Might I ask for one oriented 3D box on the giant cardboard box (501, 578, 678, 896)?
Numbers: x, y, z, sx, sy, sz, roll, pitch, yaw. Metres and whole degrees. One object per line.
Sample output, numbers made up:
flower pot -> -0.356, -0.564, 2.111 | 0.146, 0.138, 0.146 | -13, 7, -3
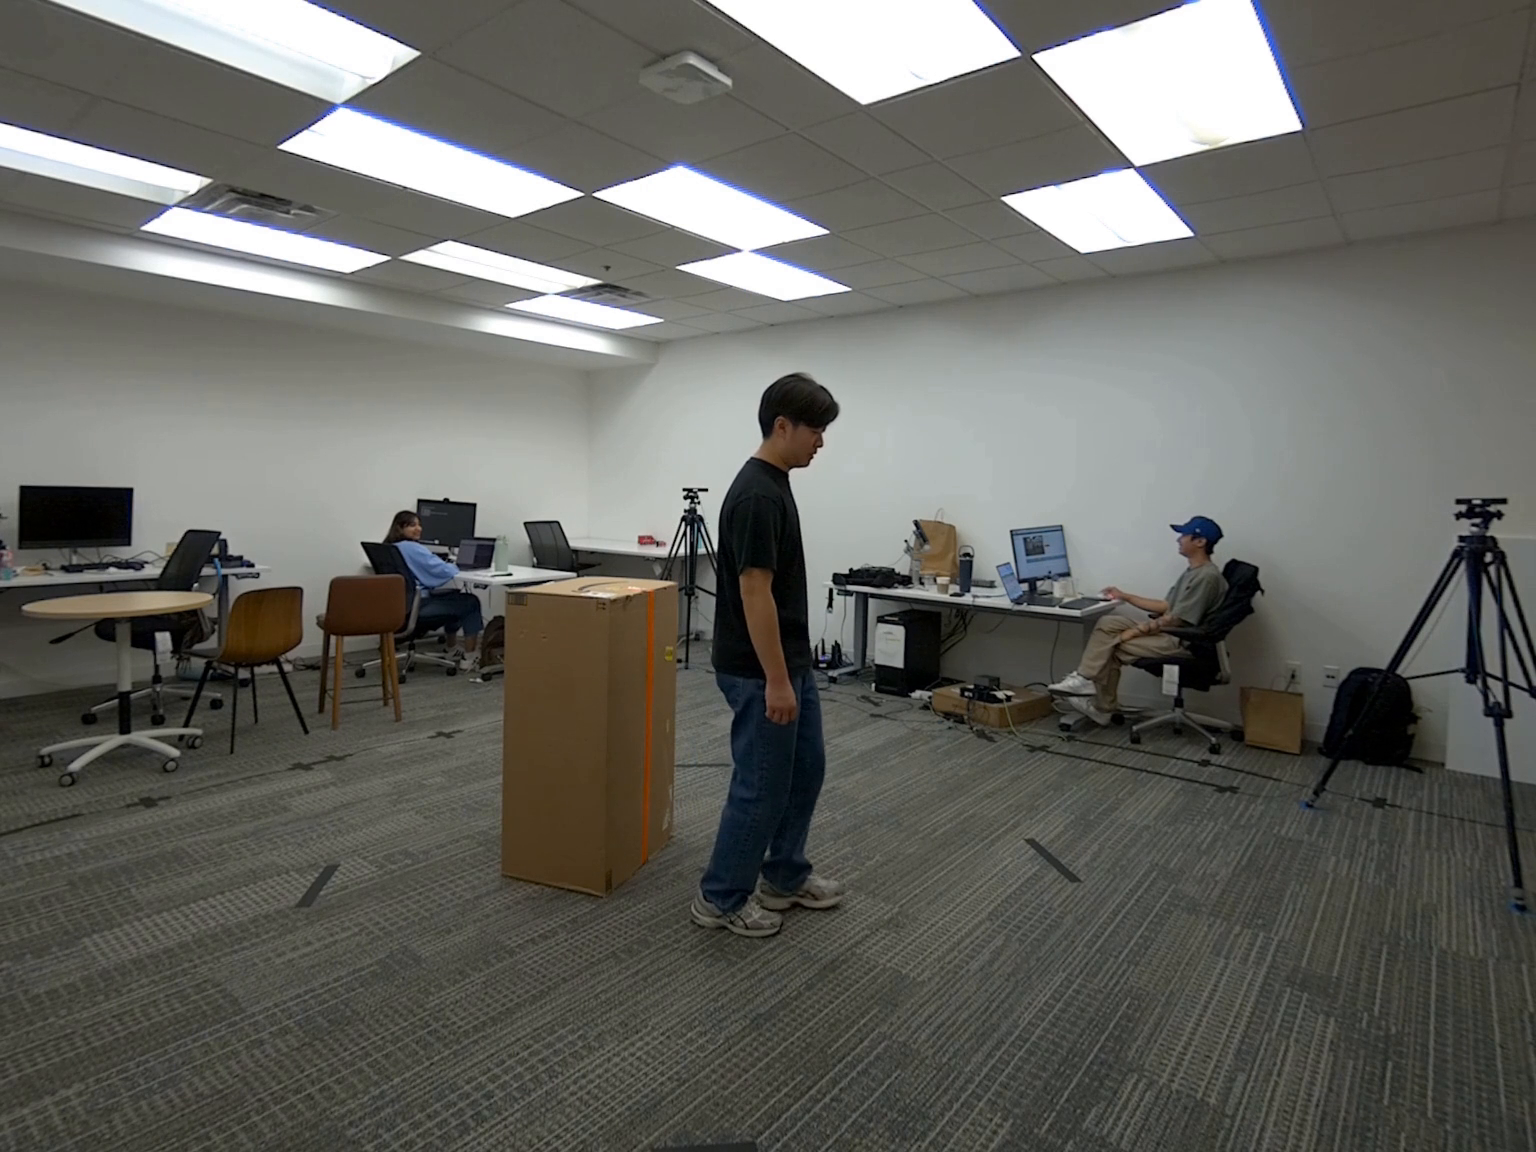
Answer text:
giant cardboard box -> -0.662, 0.541, 3.193 | 0.457, 1.024, 0.572 | 3, 3, 21
